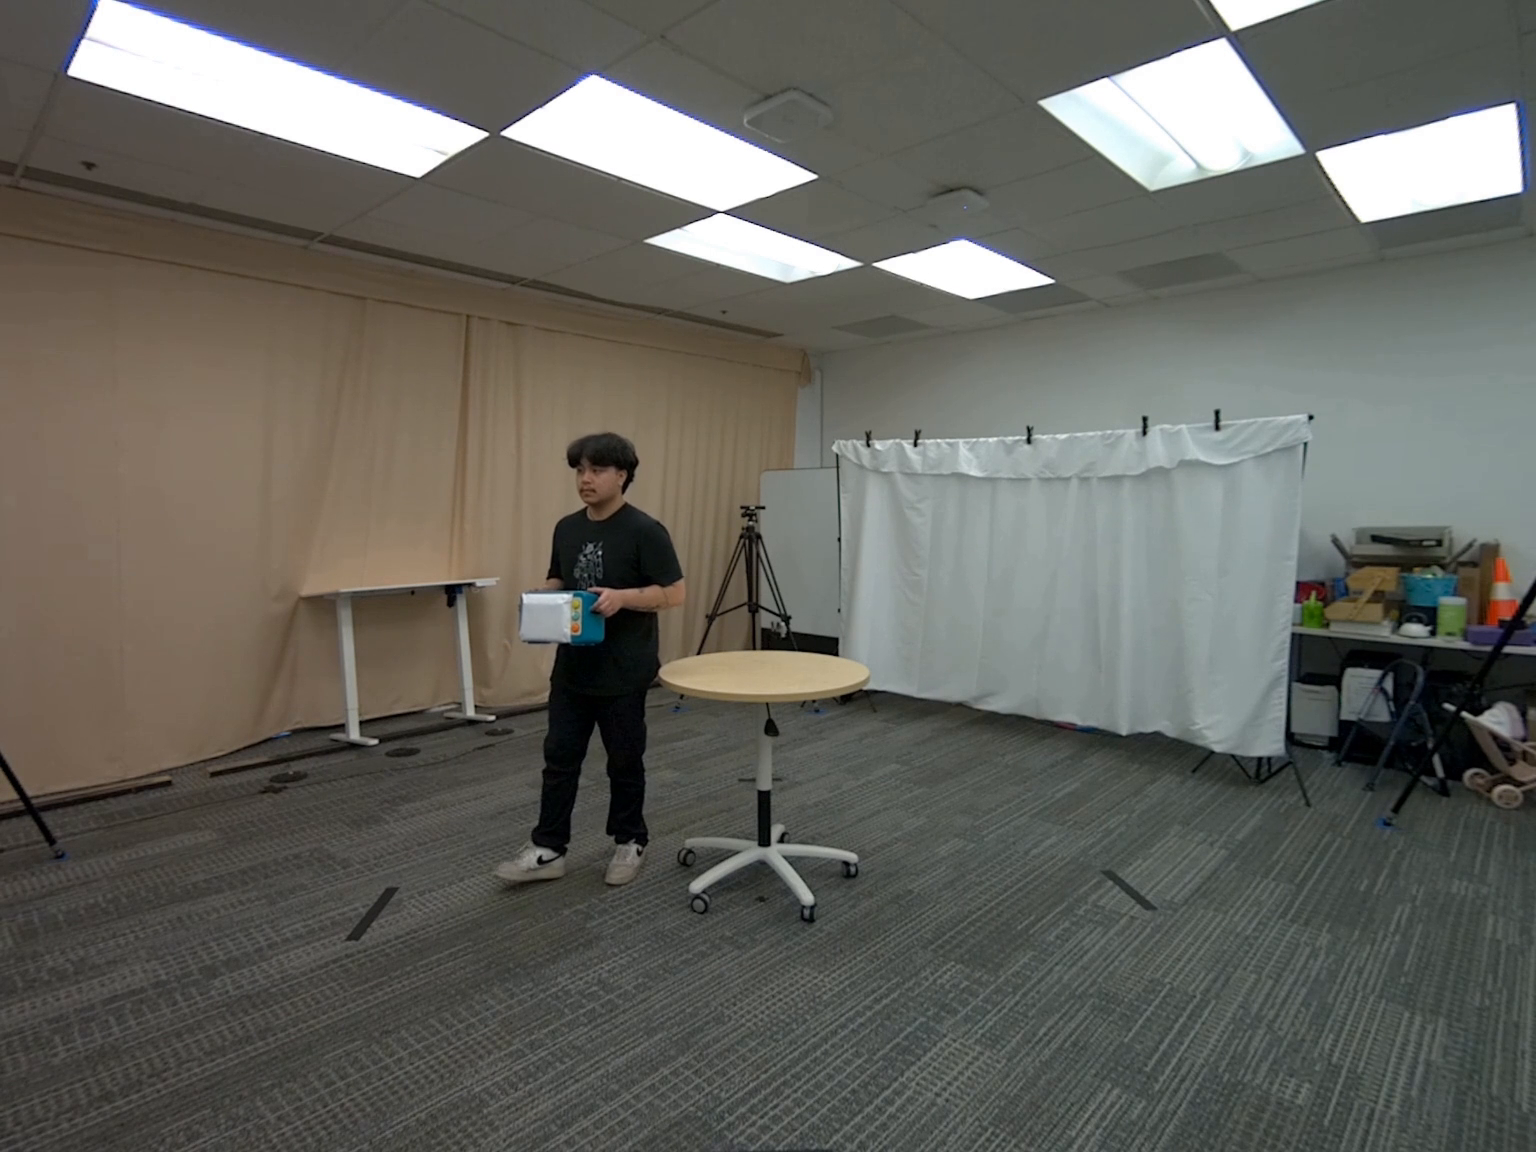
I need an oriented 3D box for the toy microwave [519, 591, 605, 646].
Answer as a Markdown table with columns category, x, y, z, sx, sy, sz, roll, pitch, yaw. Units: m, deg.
| category | x | y | z | sx | sy | sz | roll | pitch | yaw |
| --- | --- | --- | --- | --- | --- | --- | --- | --- | --- |
| toy microwave | -0.722 | 0.145 | 2.921 | 0.293 | 0.184 | 0.148 | 0 | -4 | 26 |
